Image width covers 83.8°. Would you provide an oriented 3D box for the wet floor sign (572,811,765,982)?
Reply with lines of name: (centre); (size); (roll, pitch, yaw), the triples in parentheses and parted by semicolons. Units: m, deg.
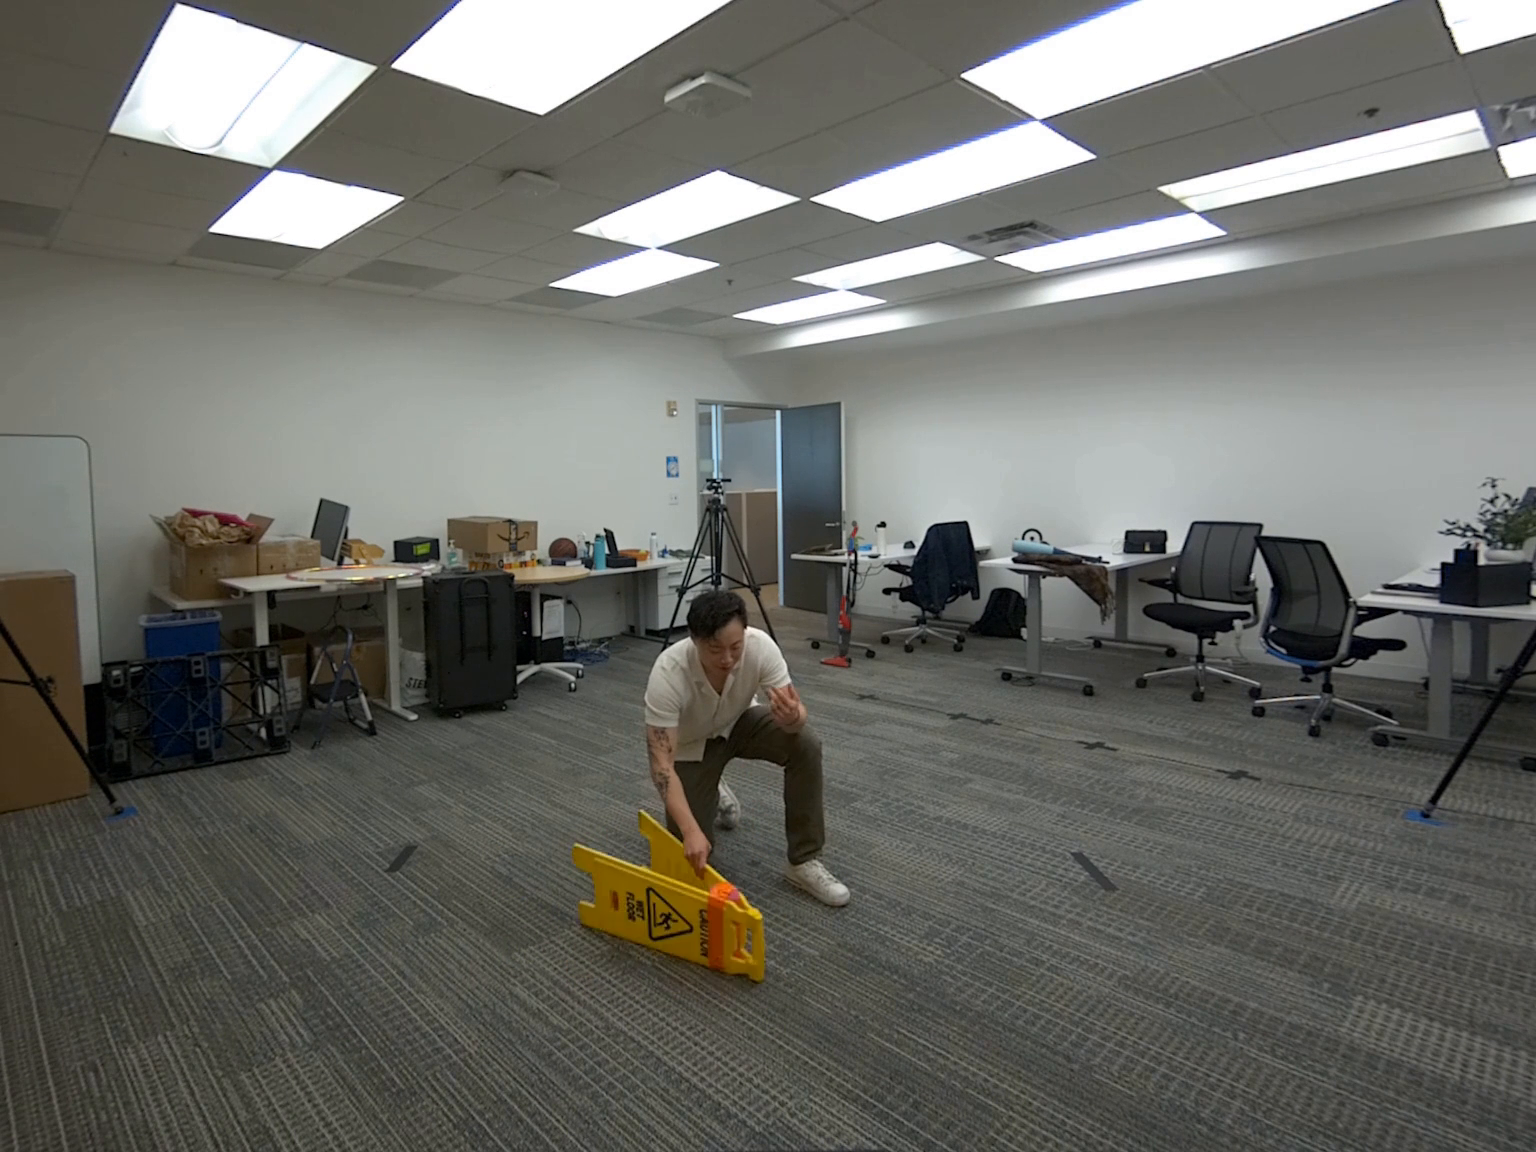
wet floor sign: (-0.263, 0.984, 2.563); (0.667, 0.279, 0.284); (9, 16, 39)
